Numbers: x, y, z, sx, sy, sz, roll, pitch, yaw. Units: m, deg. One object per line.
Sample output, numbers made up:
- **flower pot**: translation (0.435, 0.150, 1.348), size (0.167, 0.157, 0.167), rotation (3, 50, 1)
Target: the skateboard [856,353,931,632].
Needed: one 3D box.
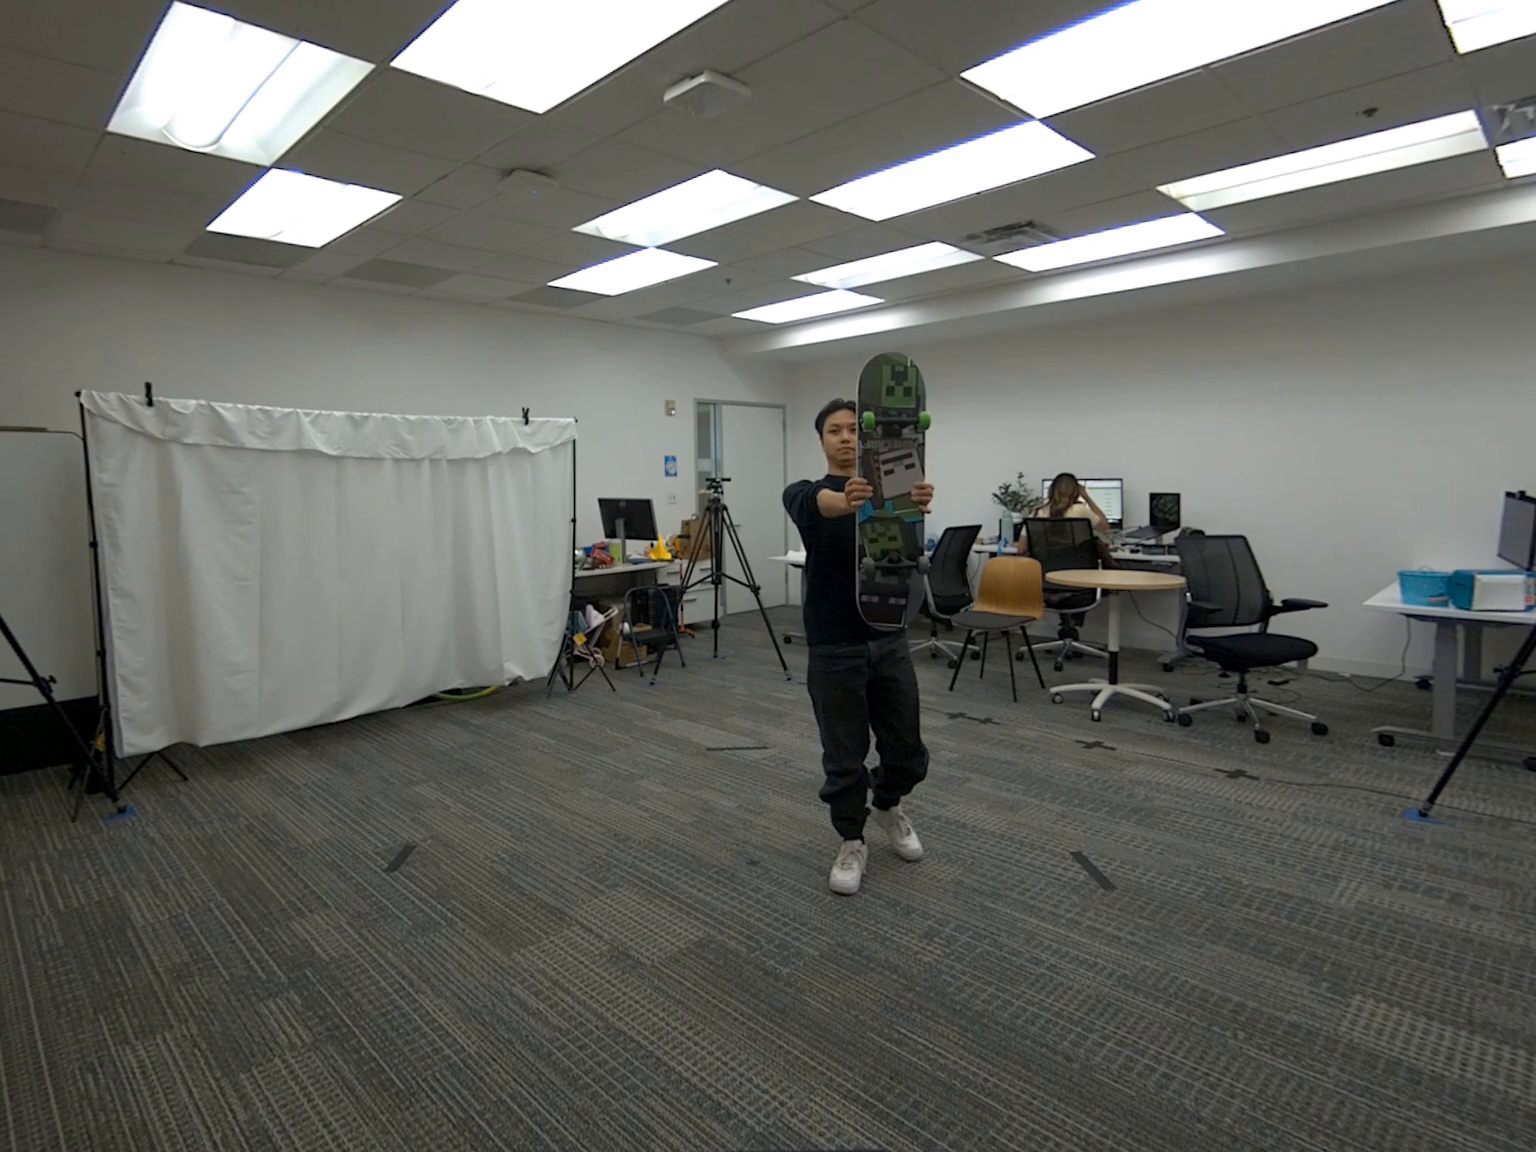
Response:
- **skateboard**: translation (0.354, -0.225, 2.376), size (0.193, 0.781, 0.111), rotation (-2, 5, -2)
